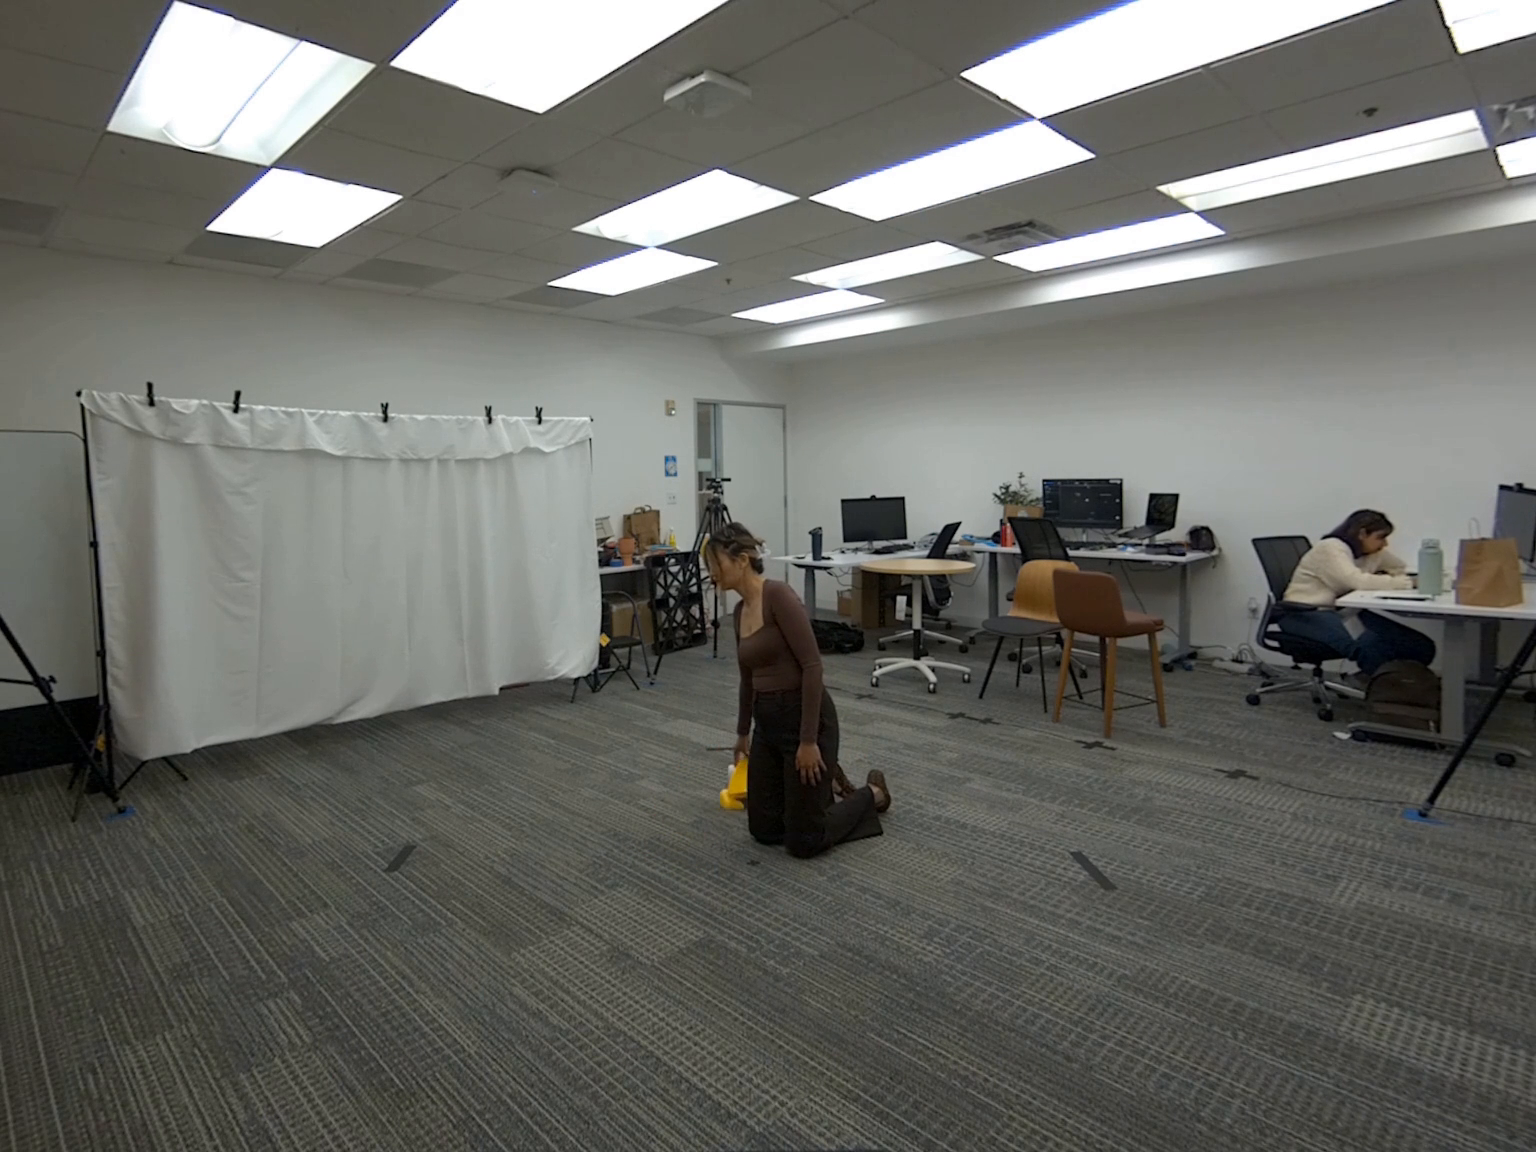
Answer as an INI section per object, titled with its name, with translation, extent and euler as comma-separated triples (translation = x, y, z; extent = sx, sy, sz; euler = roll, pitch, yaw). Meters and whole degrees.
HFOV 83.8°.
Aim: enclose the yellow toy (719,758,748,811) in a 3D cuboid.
[yellow toy]
translation = -0.108, 0.865, 3.681
extent = 0.201, 0.230, 0.197
euler = -2, 5, -20
